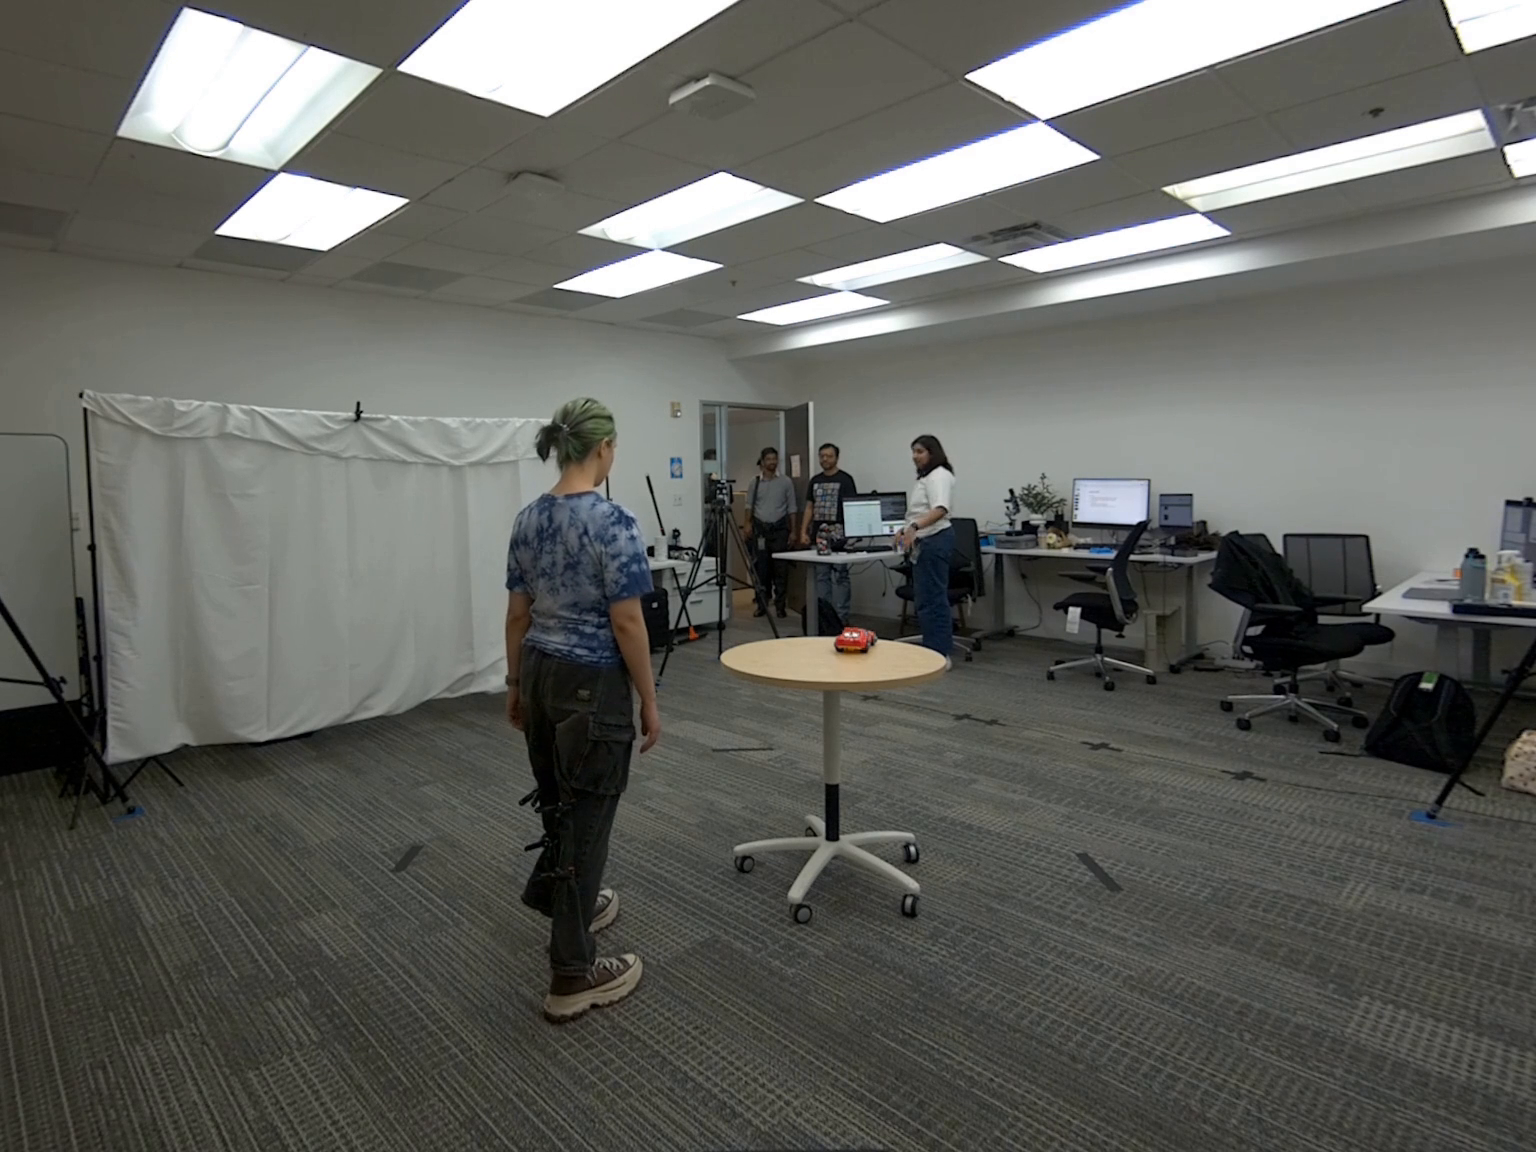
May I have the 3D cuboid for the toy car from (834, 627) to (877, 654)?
[{"bbox_3d":[0.319,0.232,3.067,0.132,0.084,0.249,1,-5,17],"label":"toy car"}]
